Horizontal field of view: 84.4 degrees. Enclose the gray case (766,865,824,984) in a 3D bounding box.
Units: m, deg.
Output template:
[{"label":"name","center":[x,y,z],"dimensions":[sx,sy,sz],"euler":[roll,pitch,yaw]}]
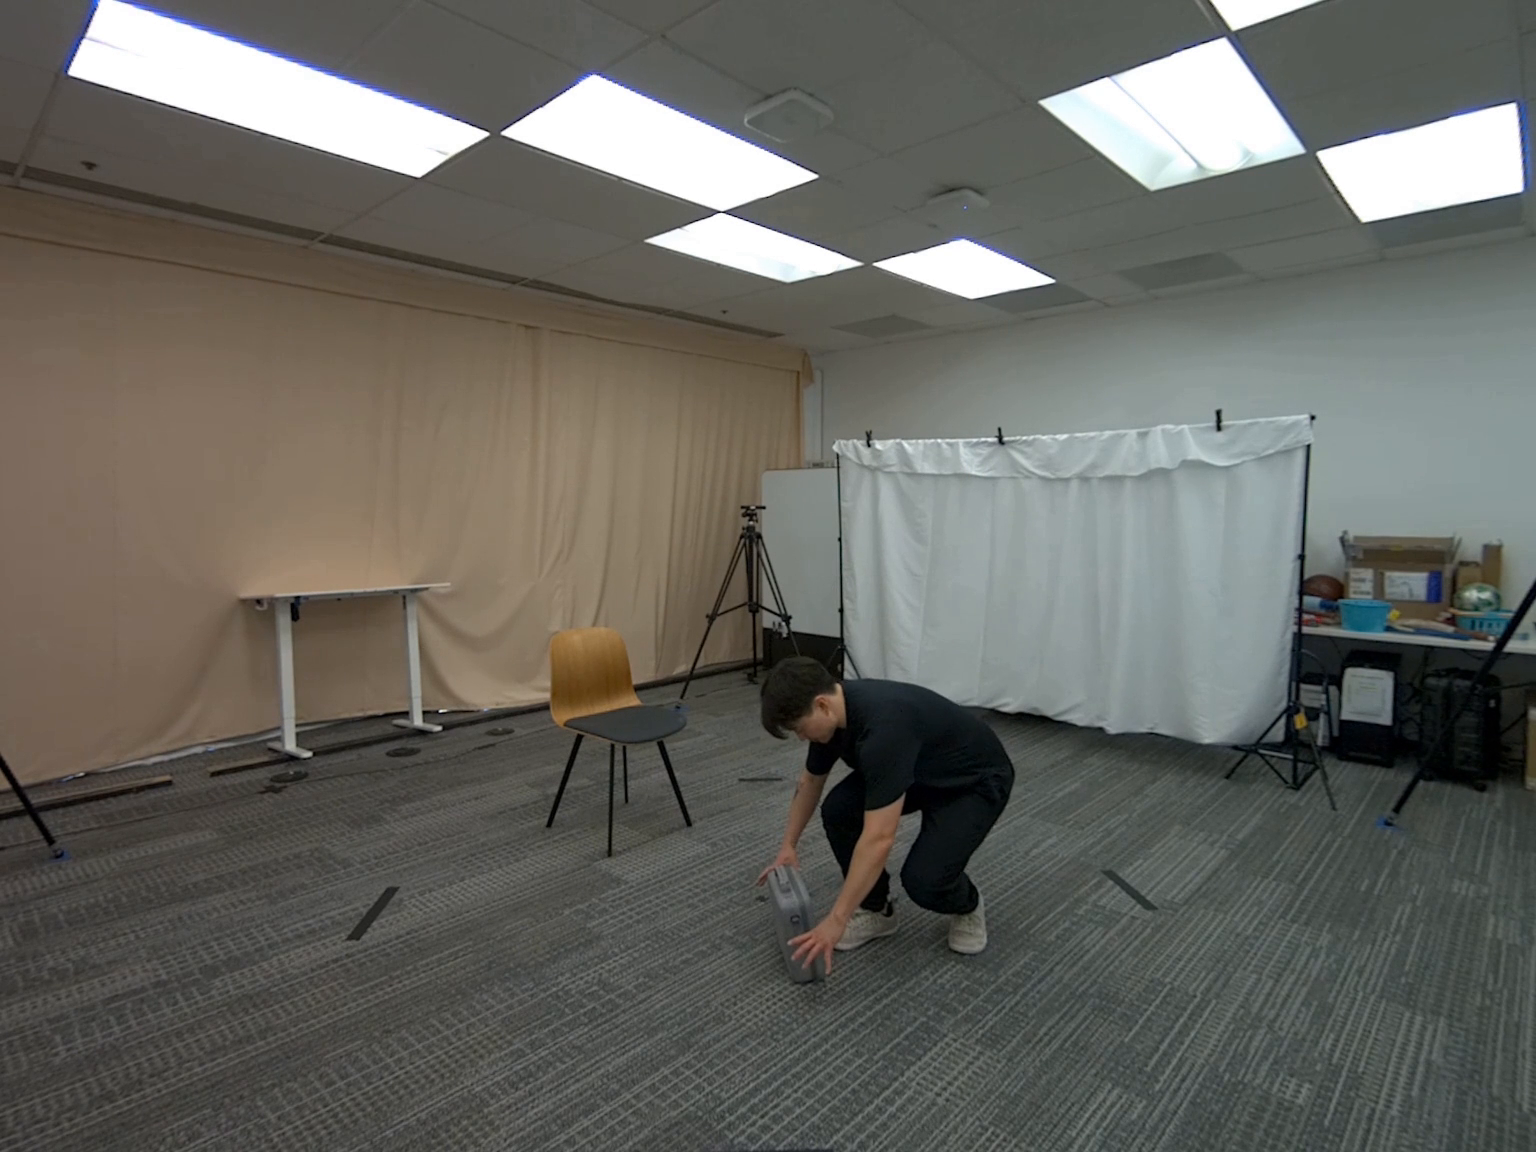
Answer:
[{"label":"gray case","center":[0.087,1.053,2.561],"dimensions":[0.103,0.259,0.260],"euler":[-11,6,-8]}]
